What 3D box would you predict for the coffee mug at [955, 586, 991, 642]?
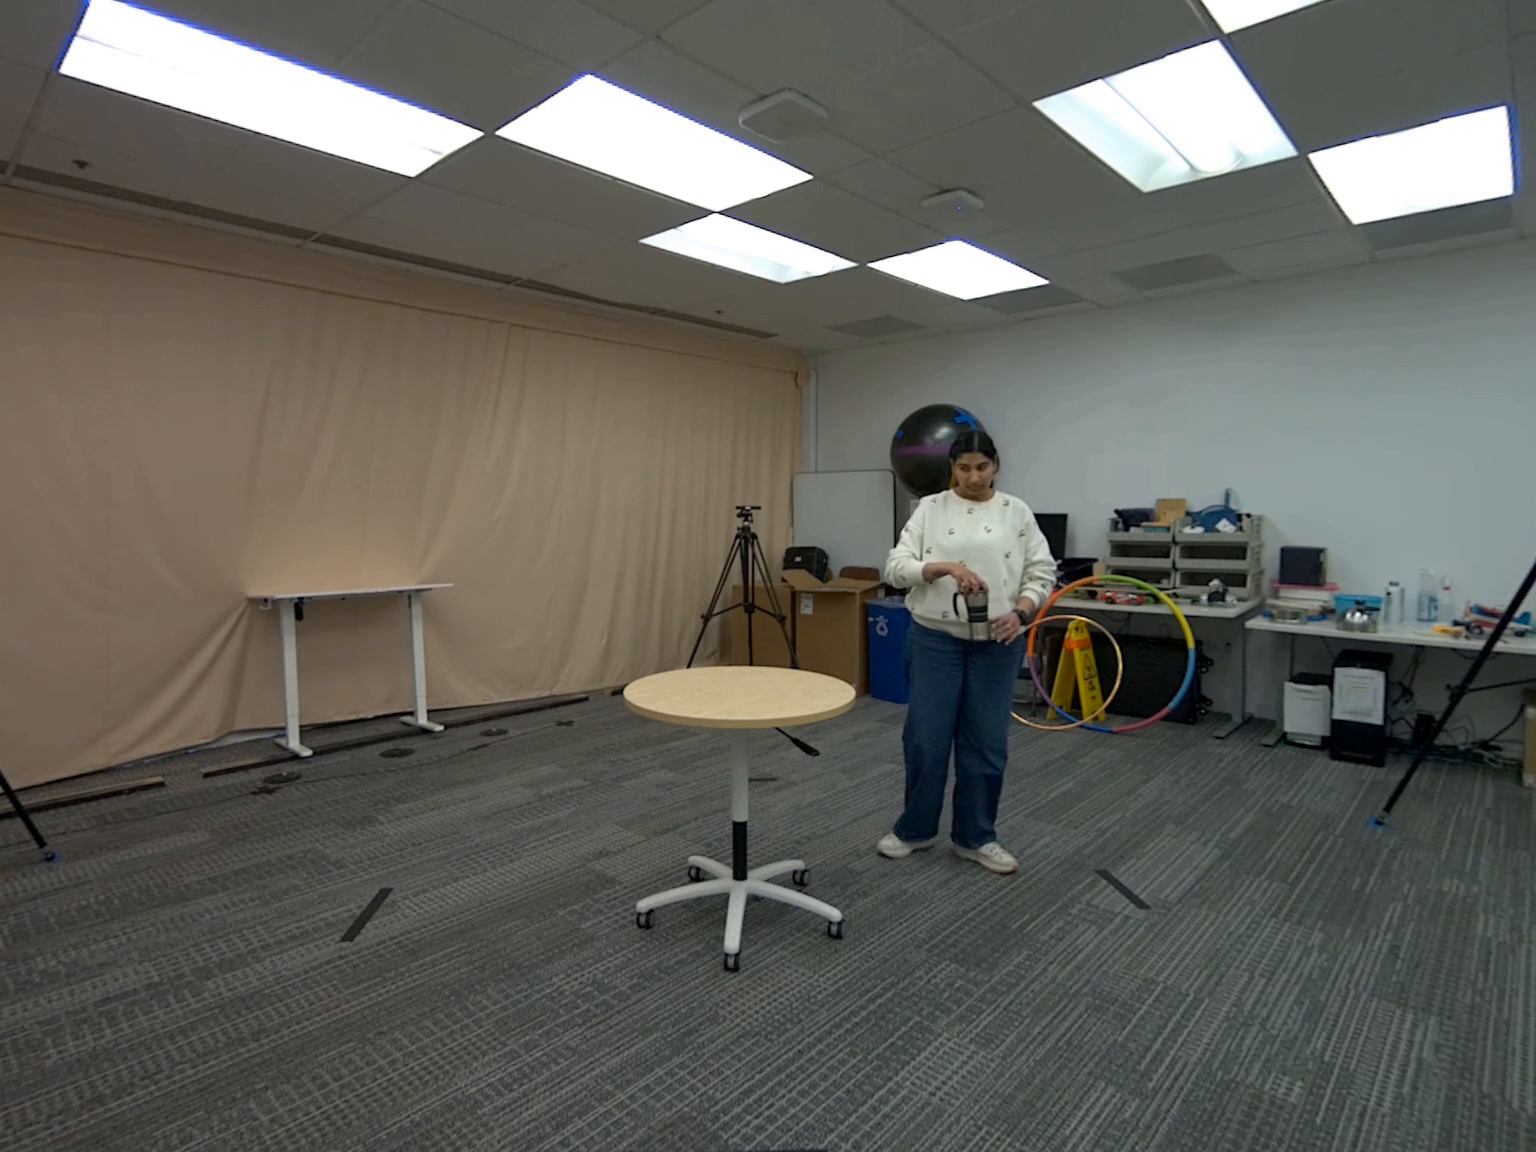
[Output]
[{"bbox_3d":[0.738,0.136,3.033,0.126,0.202,0.085,4,10,45],"label":"coffee mug"}]
